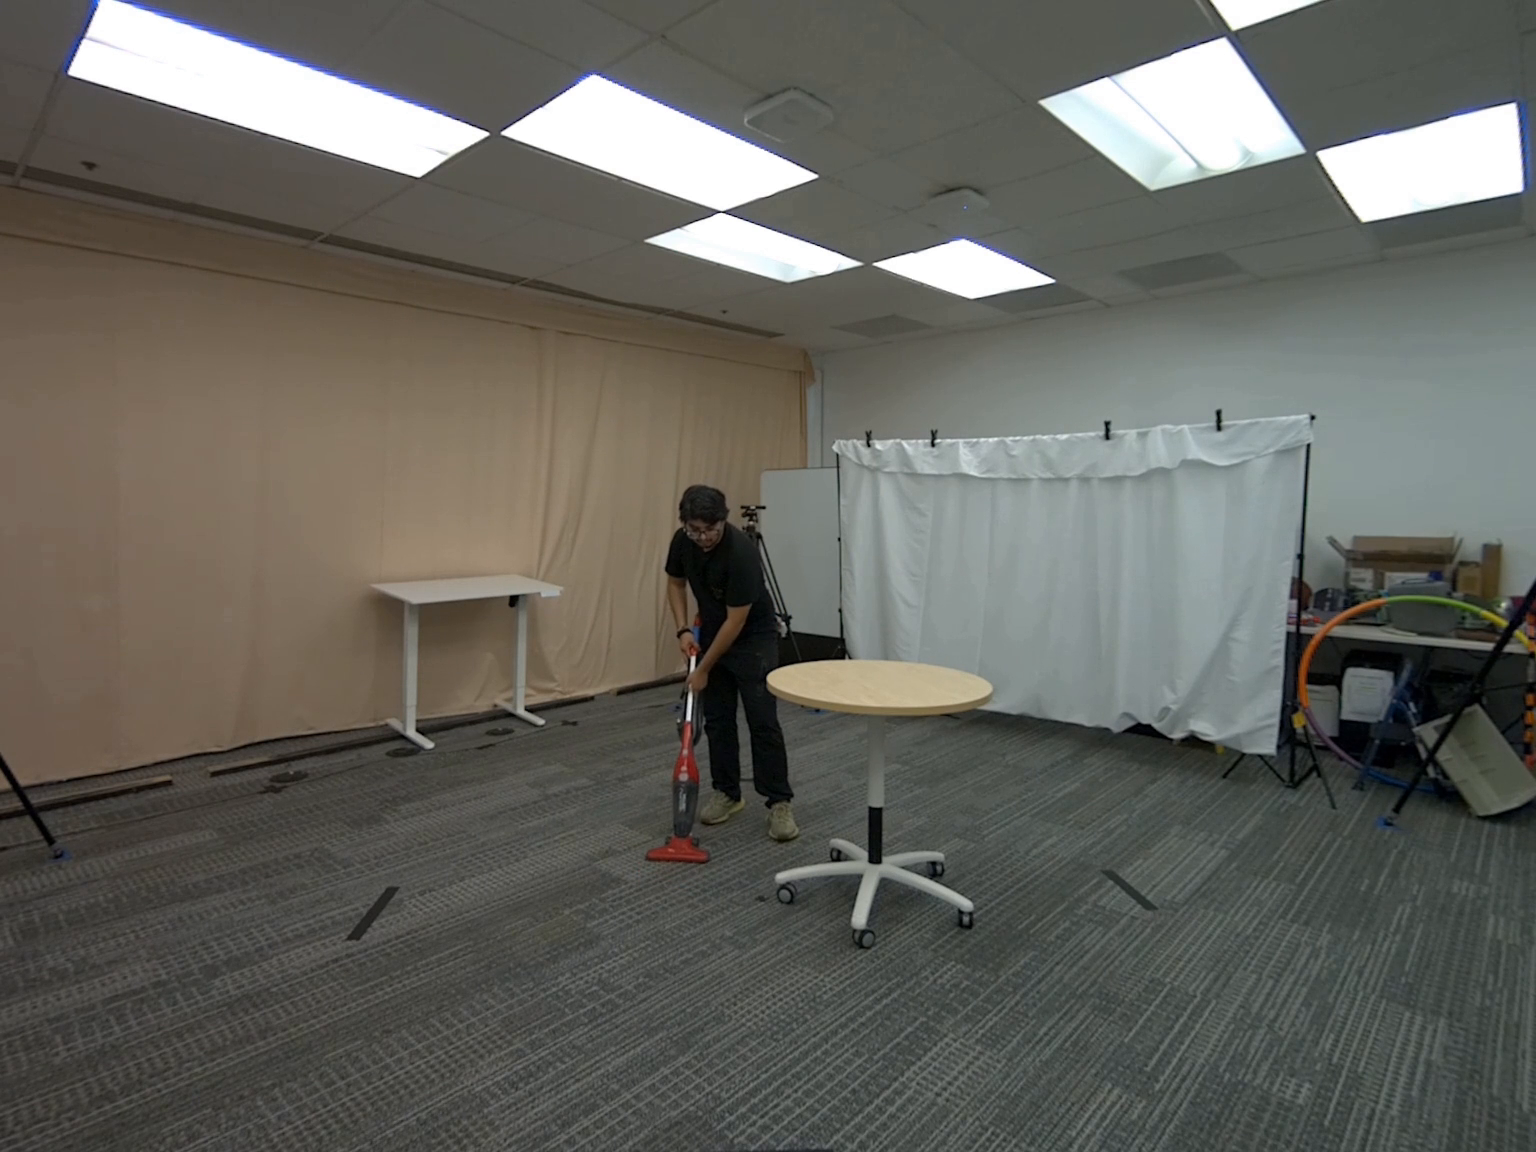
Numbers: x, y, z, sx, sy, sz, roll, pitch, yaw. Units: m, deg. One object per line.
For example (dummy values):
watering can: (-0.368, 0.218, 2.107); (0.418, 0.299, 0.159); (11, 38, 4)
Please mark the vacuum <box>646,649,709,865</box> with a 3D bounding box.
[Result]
vacuum: (-0.324, 0.640, 3.590); (0.255, 1.062, 0.141); (0, -27, 8)
